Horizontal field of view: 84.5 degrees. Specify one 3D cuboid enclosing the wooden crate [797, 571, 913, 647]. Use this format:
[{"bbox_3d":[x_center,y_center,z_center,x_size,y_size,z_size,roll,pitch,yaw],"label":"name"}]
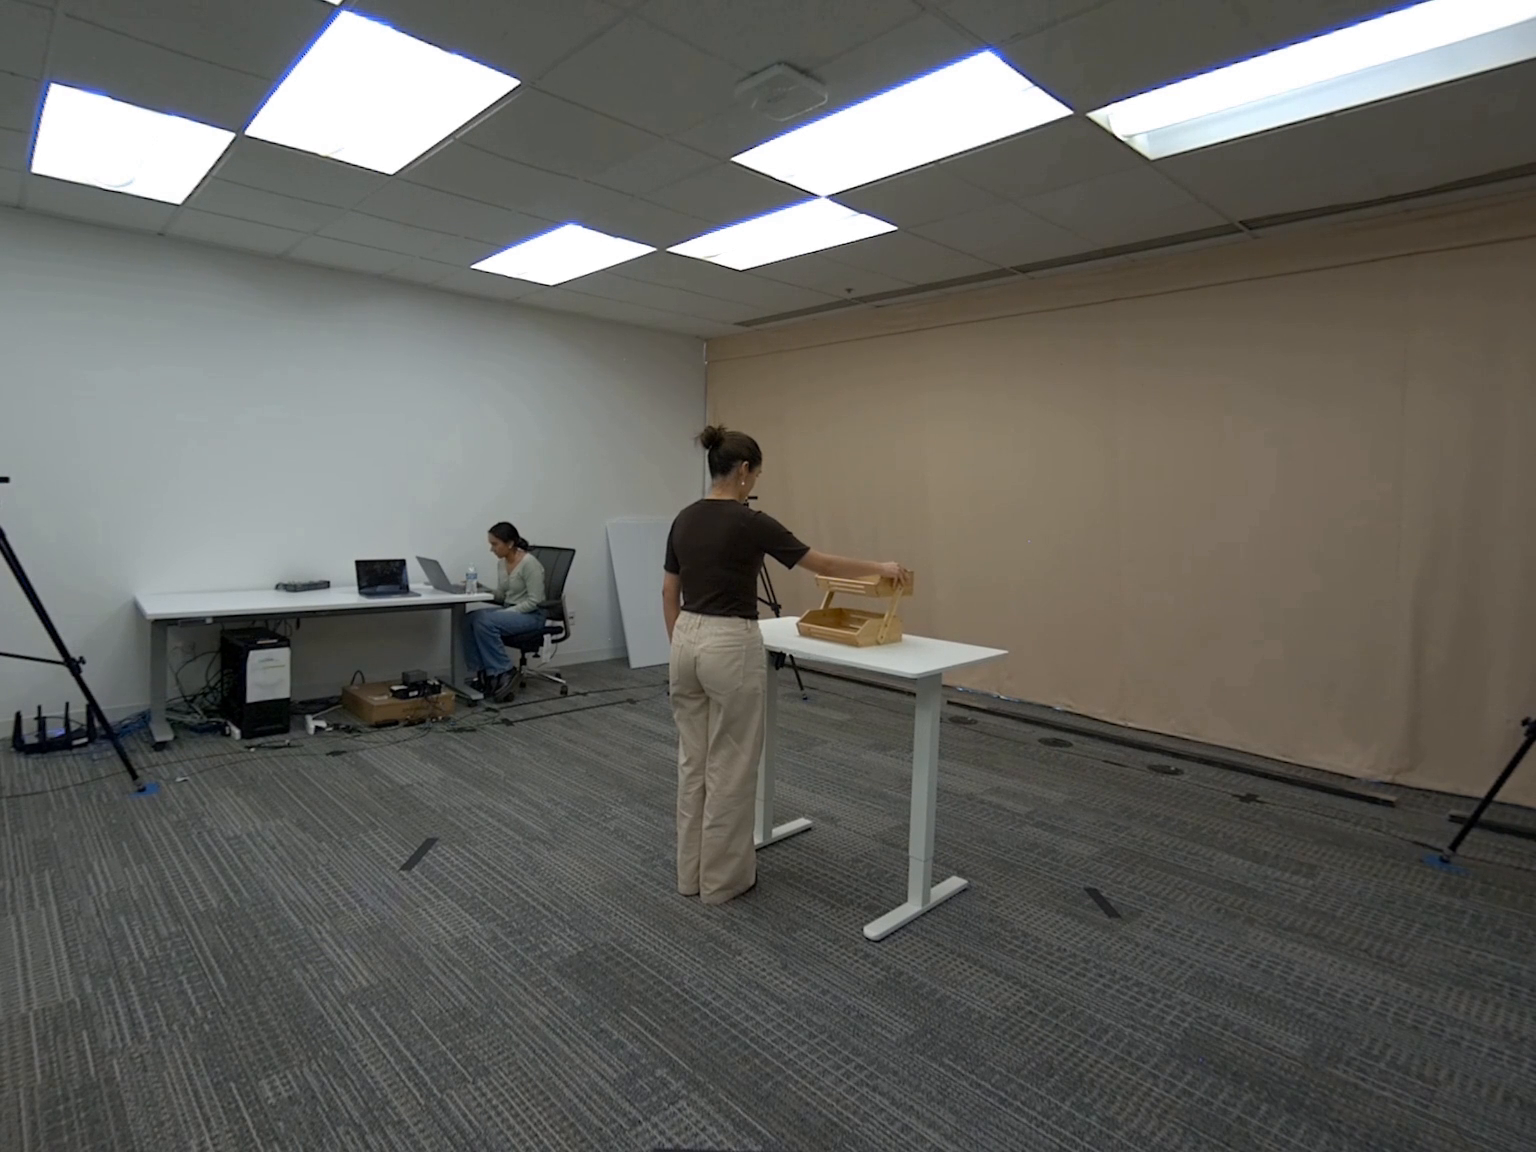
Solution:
[{"bbox_3d":[0.313,0.099,3.114,0.295,0.273,0.333,0,5,-42],"label":"wooden crate"}]
